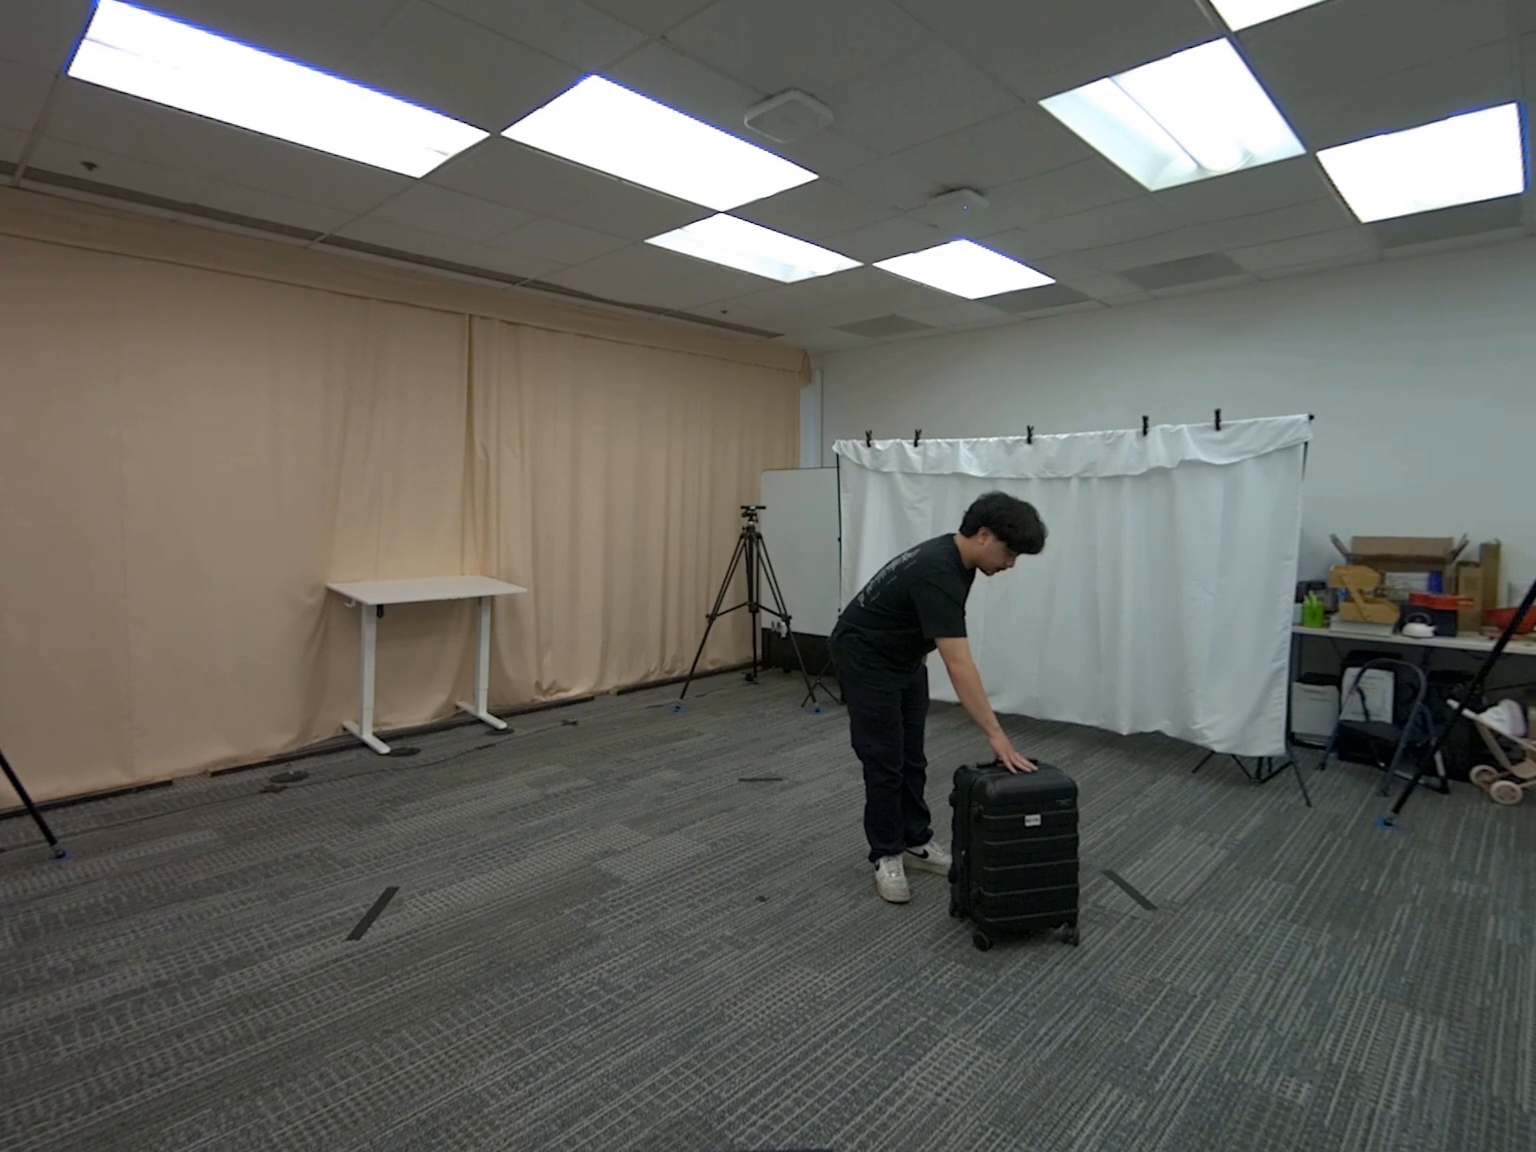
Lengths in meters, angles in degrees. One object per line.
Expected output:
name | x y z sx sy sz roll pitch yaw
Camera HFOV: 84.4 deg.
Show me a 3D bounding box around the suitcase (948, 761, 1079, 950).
suitcase | 0.818 0.883 2.748 0.371 0.548 0.252 -1 3 -12
